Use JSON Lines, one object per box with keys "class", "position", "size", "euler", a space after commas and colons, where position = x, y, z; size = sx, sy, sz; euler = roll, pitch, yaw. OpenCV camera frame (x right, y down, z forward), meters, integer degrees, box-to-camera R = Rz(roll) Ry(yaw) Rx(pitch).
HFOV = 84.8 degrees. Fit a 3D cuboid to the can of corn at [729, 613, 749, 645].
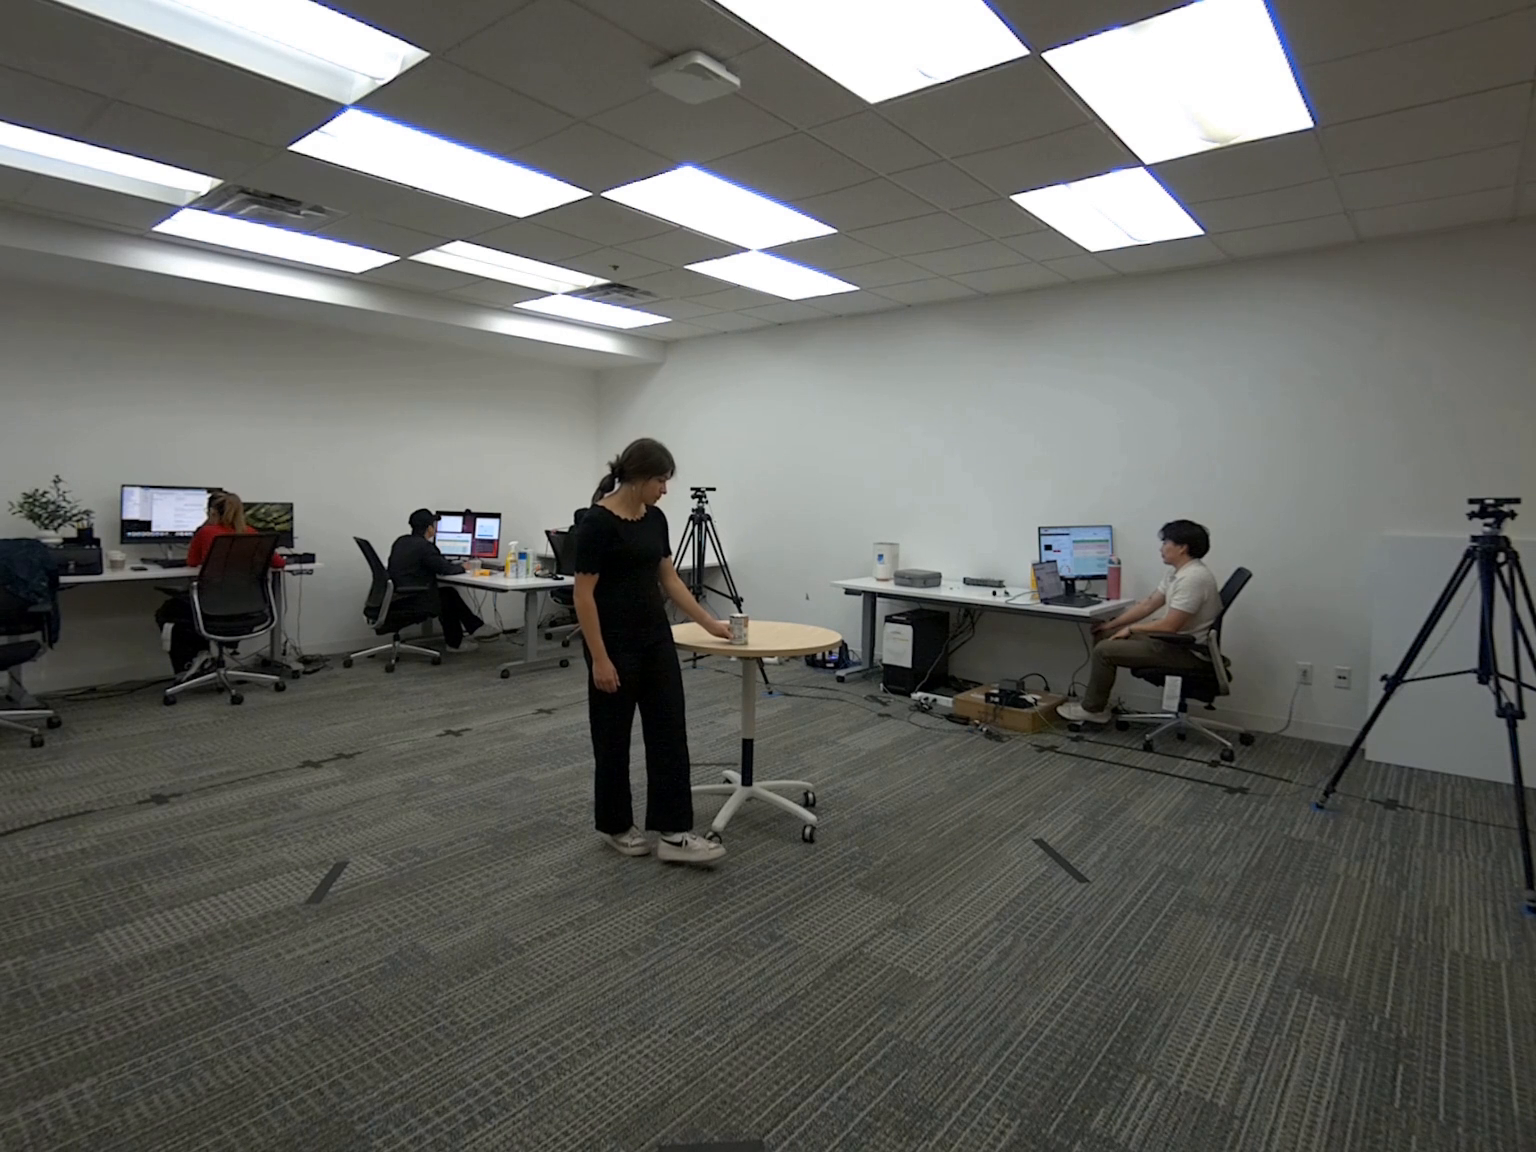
{"class": "can of corn", "position": [-0.128, 0.210, 3.313], "size": [0.074, 0.111, 0.074], "euler": [-1, 4, -2]}
